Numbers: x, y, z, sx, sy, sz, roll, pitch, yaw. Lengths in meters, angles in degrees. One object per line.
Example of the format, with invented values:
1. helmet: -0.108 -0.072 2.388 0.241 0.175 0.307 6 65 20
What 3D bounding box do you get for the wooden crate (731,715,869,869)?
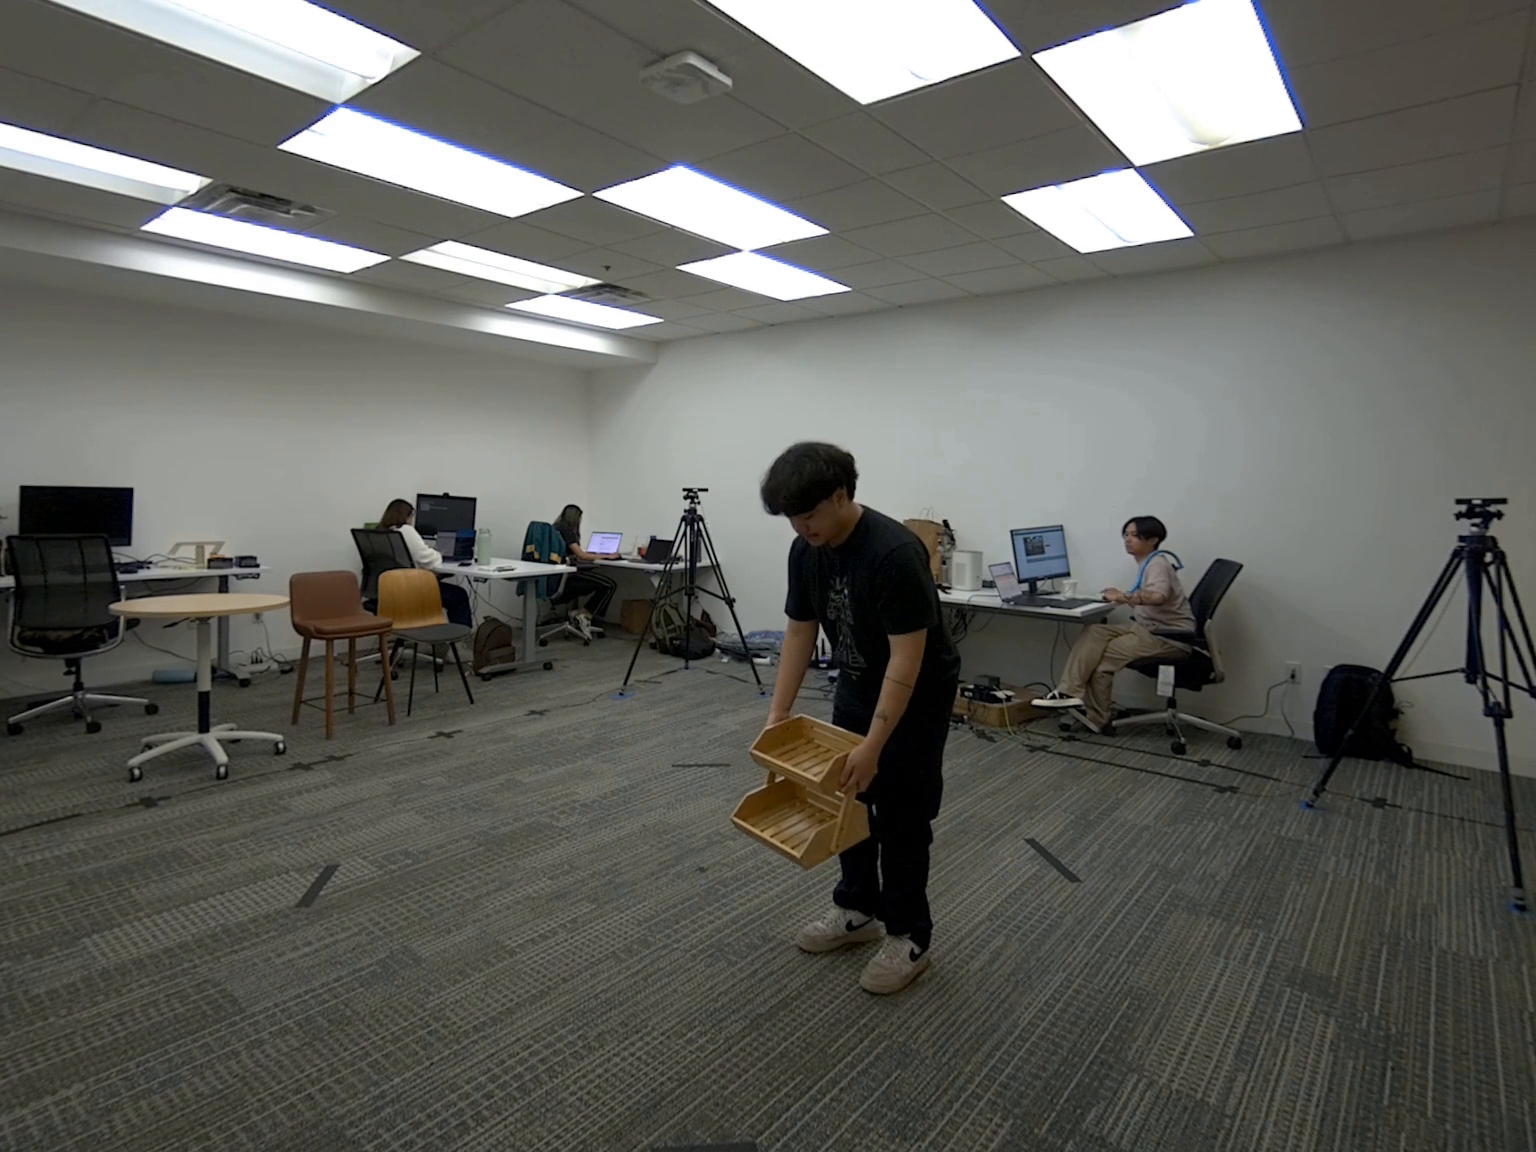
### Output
1. wooden crate: 0.084 0.586 2.363 0.295 0.270 0.335 -15 14 -36
